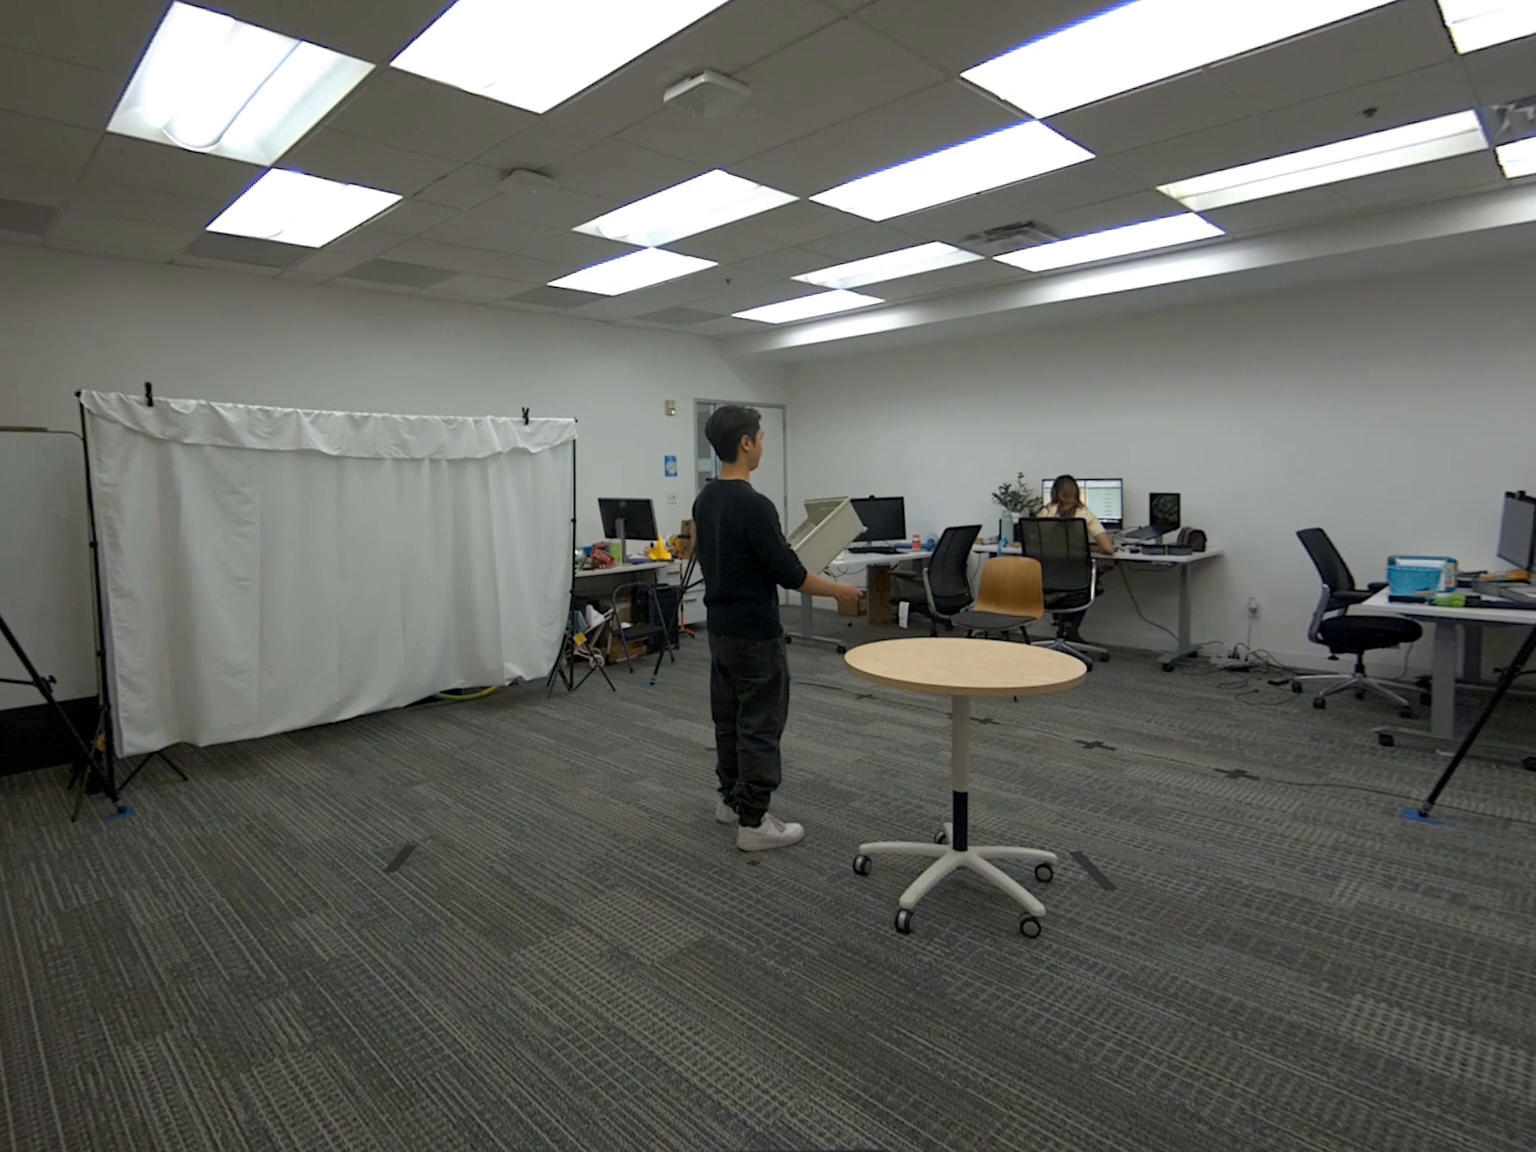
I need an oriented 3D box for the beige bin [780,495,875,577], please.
[{"bbox_3d":[0.179,-0.154,3.854,0.421,0.185,0.387,-42,22,-26],"label":"beige bin"}]
